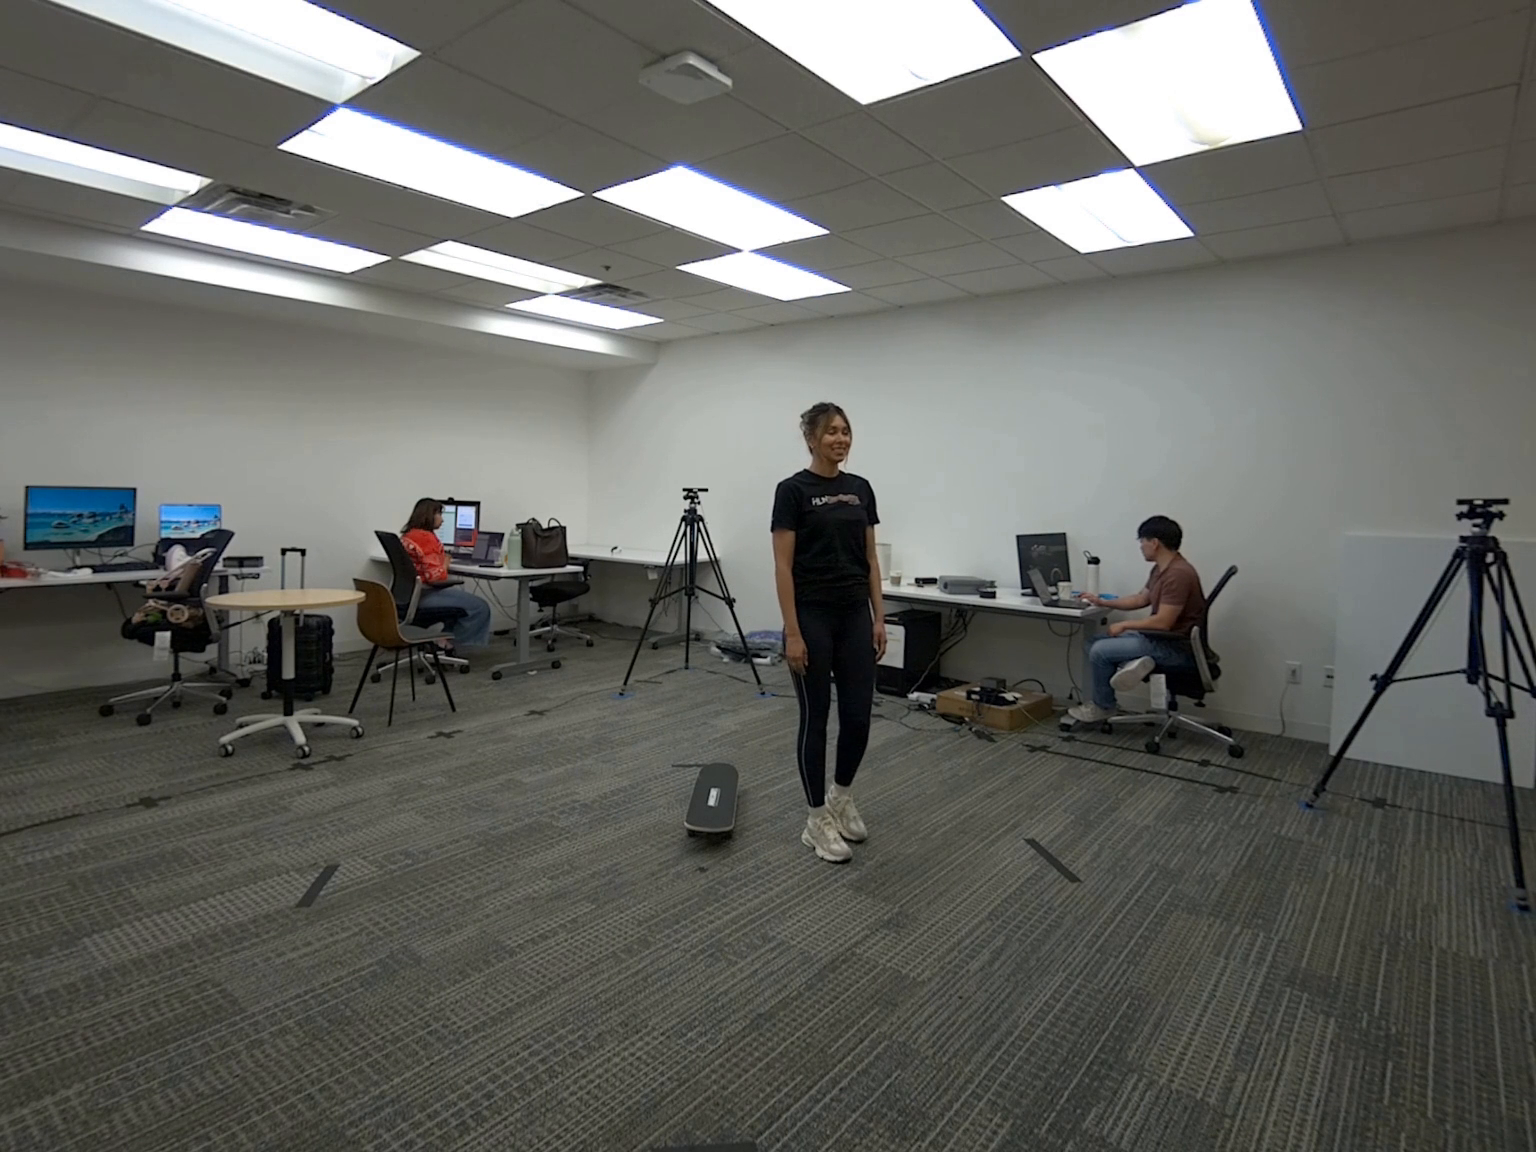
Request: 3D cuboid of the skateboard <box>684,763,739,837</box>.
[{"bbox_3d":[-0.237,0.963,3.605,0.194,0.110,0.787,1,6,0],"label":"skateboard"}]
